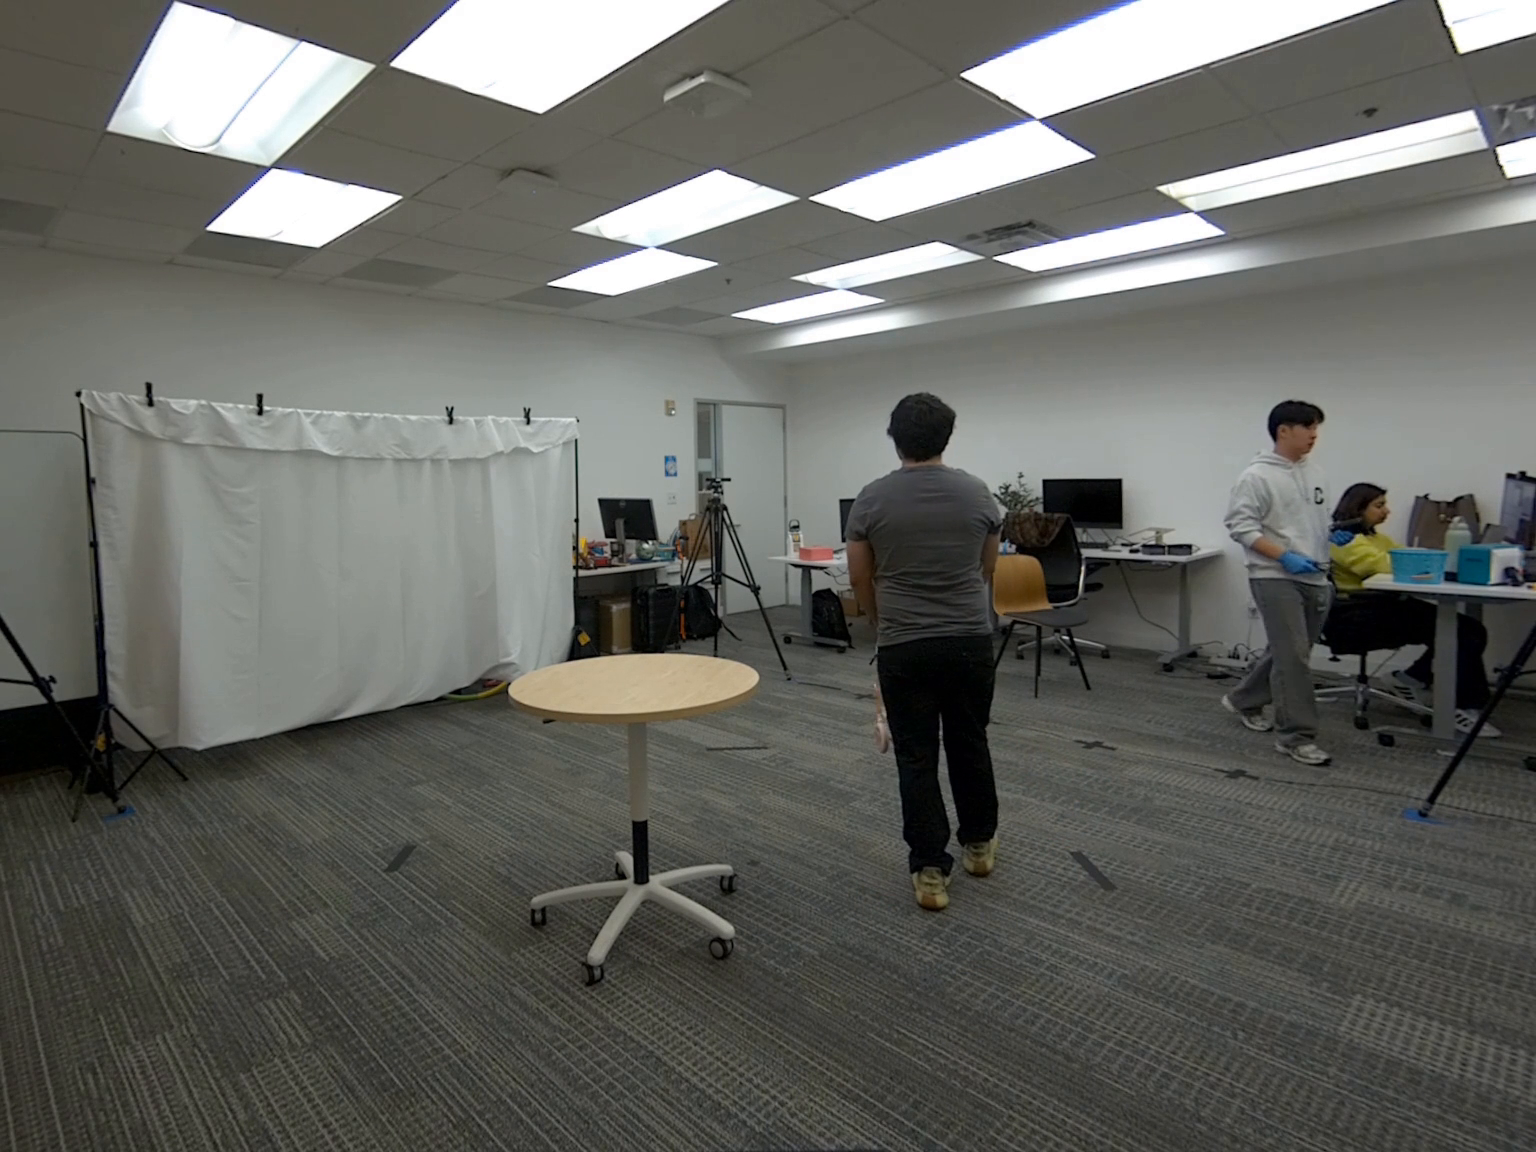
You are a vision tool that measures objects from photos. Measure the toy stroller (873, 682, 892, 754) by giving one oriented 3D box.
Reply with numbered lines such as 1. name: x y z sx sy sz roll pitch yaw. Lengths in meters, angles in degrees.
1. toy stroller: 0.533 0.433 3.225 0.282 0.537 0.340 -3 -3 0
